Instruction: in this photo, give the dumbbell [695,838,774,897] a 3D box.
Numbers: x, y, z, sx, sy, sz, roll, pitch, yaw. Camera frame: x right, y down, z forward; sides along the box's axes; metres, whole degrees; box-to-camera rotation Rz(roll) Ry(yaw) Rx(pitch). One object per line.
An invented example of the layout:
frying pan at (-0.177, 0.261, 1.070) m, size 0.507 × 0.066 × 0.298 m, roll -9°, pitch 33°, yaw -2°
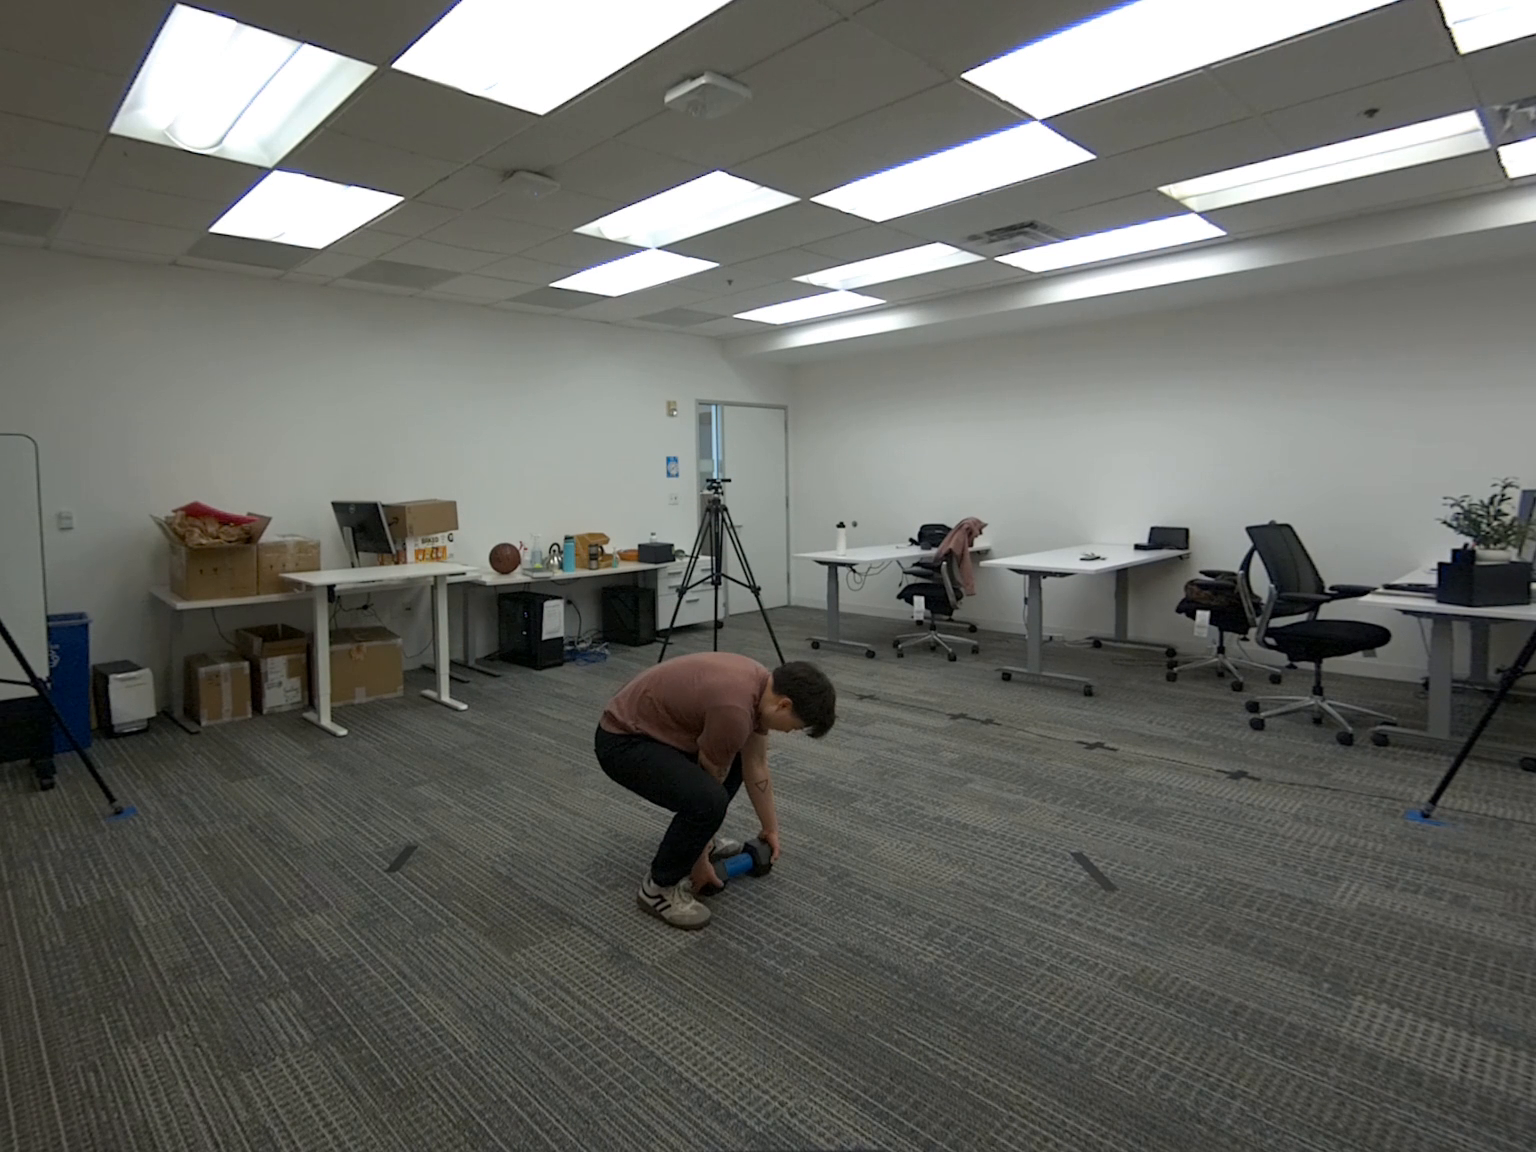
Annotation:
dumbbell at (-0.115, 1.003, 2.968) m, size 0.286 × 0.121 × 0.113 m, roll -5°, pitch 34°, yaw -39°
